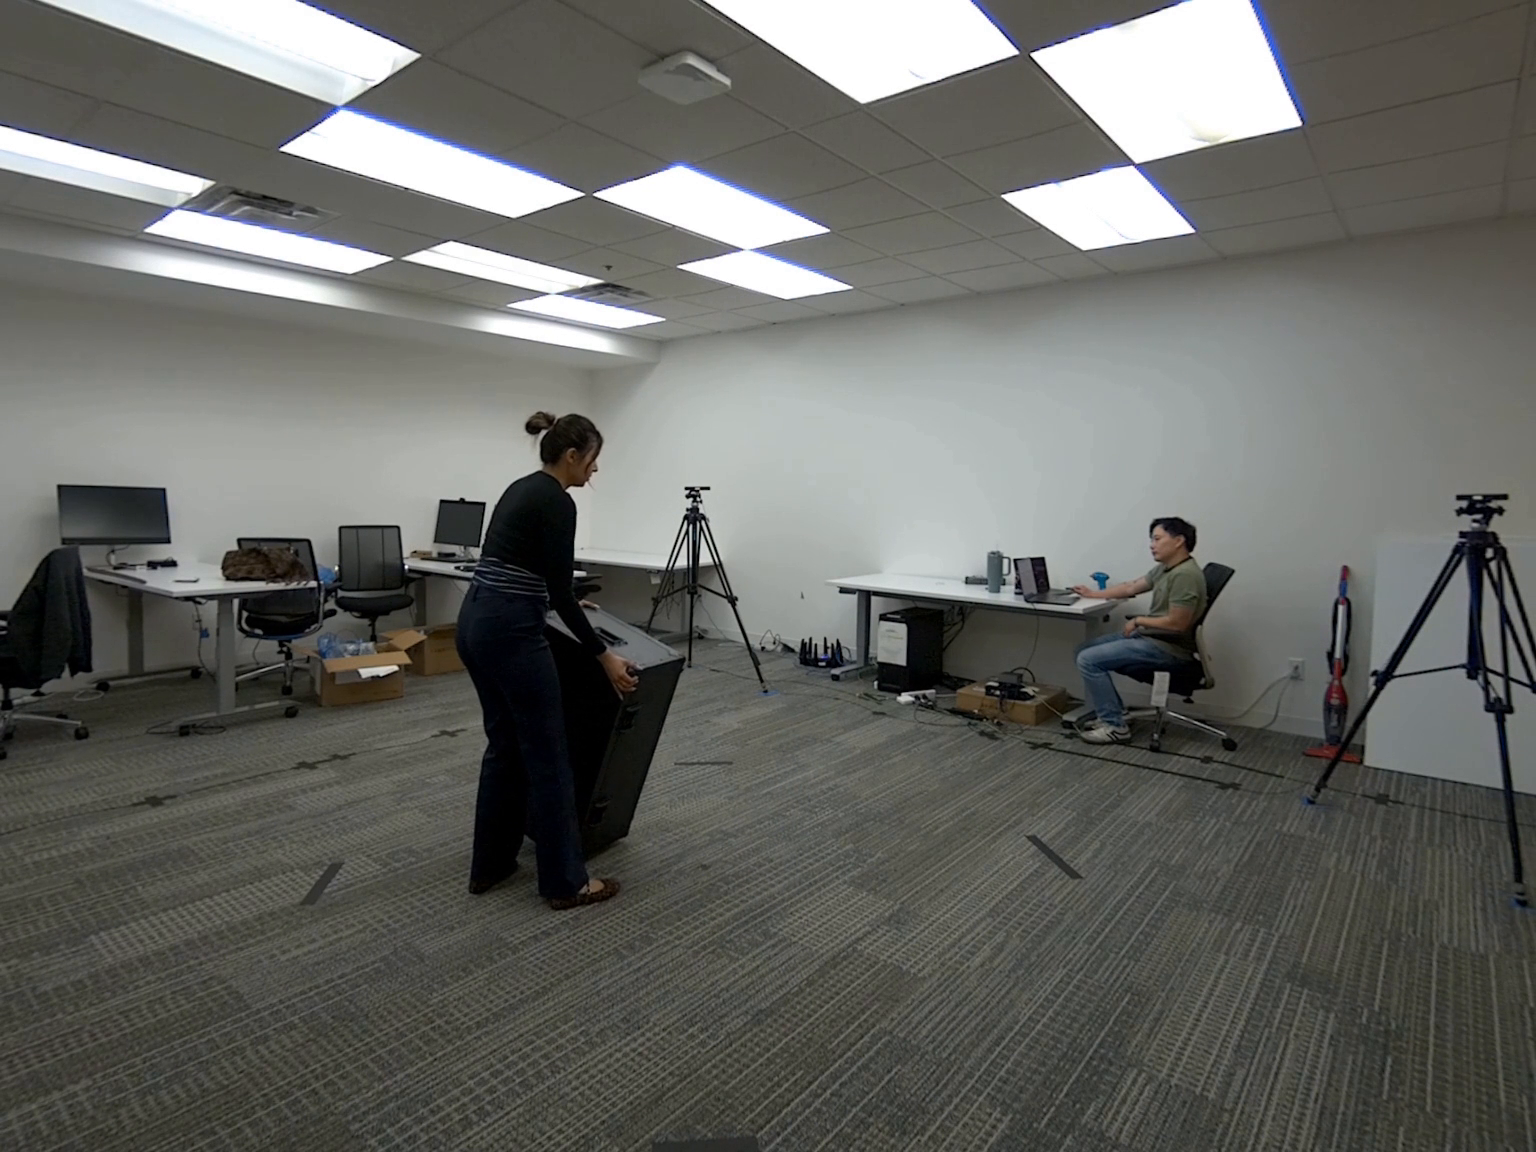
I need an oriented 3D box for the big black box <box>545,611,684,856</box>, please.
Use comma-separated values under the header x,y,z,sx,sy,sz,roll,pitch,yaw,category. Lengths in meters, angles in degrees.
x,y,z,sx,sy,sz,roll,pitch,yaw,category
-0.722,0.604,3.229,0.539,0.856,0.385,26,12,26,big black box
